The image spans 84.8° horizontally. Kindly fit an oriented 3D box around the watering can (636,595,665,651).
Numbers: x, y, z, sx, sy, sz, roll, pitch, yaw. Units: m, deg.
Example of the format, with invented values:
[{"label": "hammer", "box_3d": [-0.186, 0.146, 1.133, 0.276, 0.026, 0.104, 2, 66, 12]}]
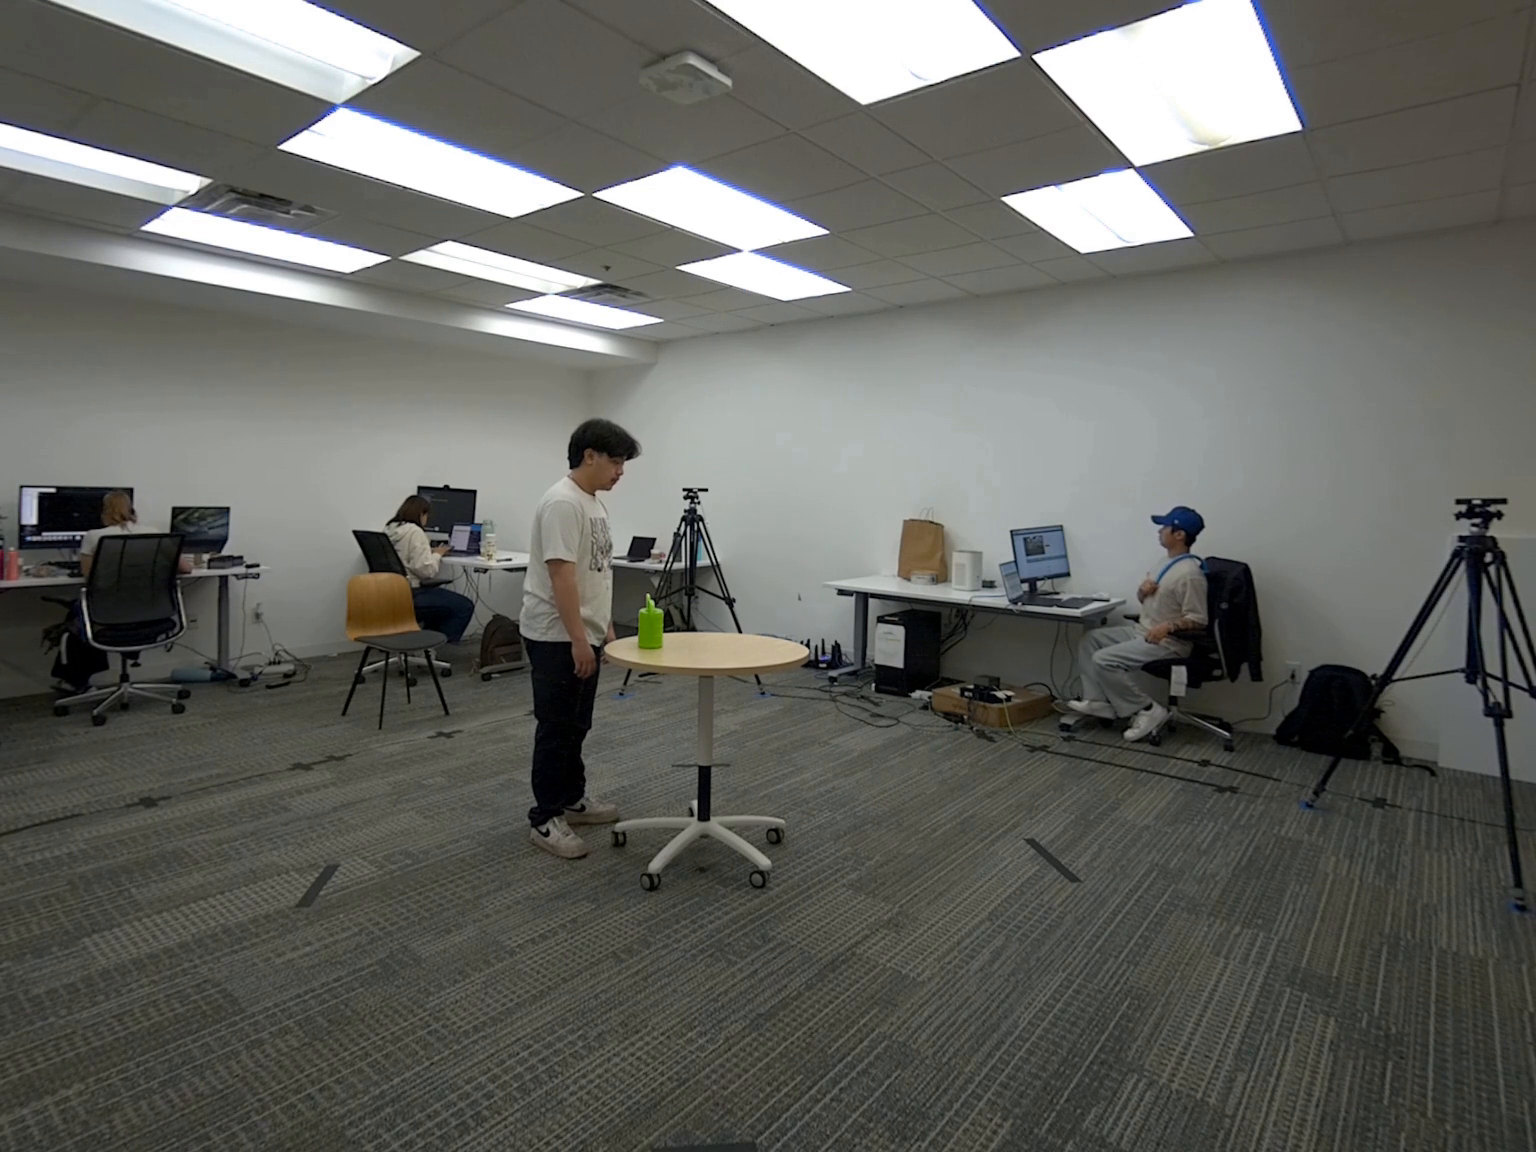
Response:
[{"label": "watering can", "box_3d": [-0.461, 0.176, 3.257, 0.098, 0.176, 0.279, 1, 6, -1]}]
